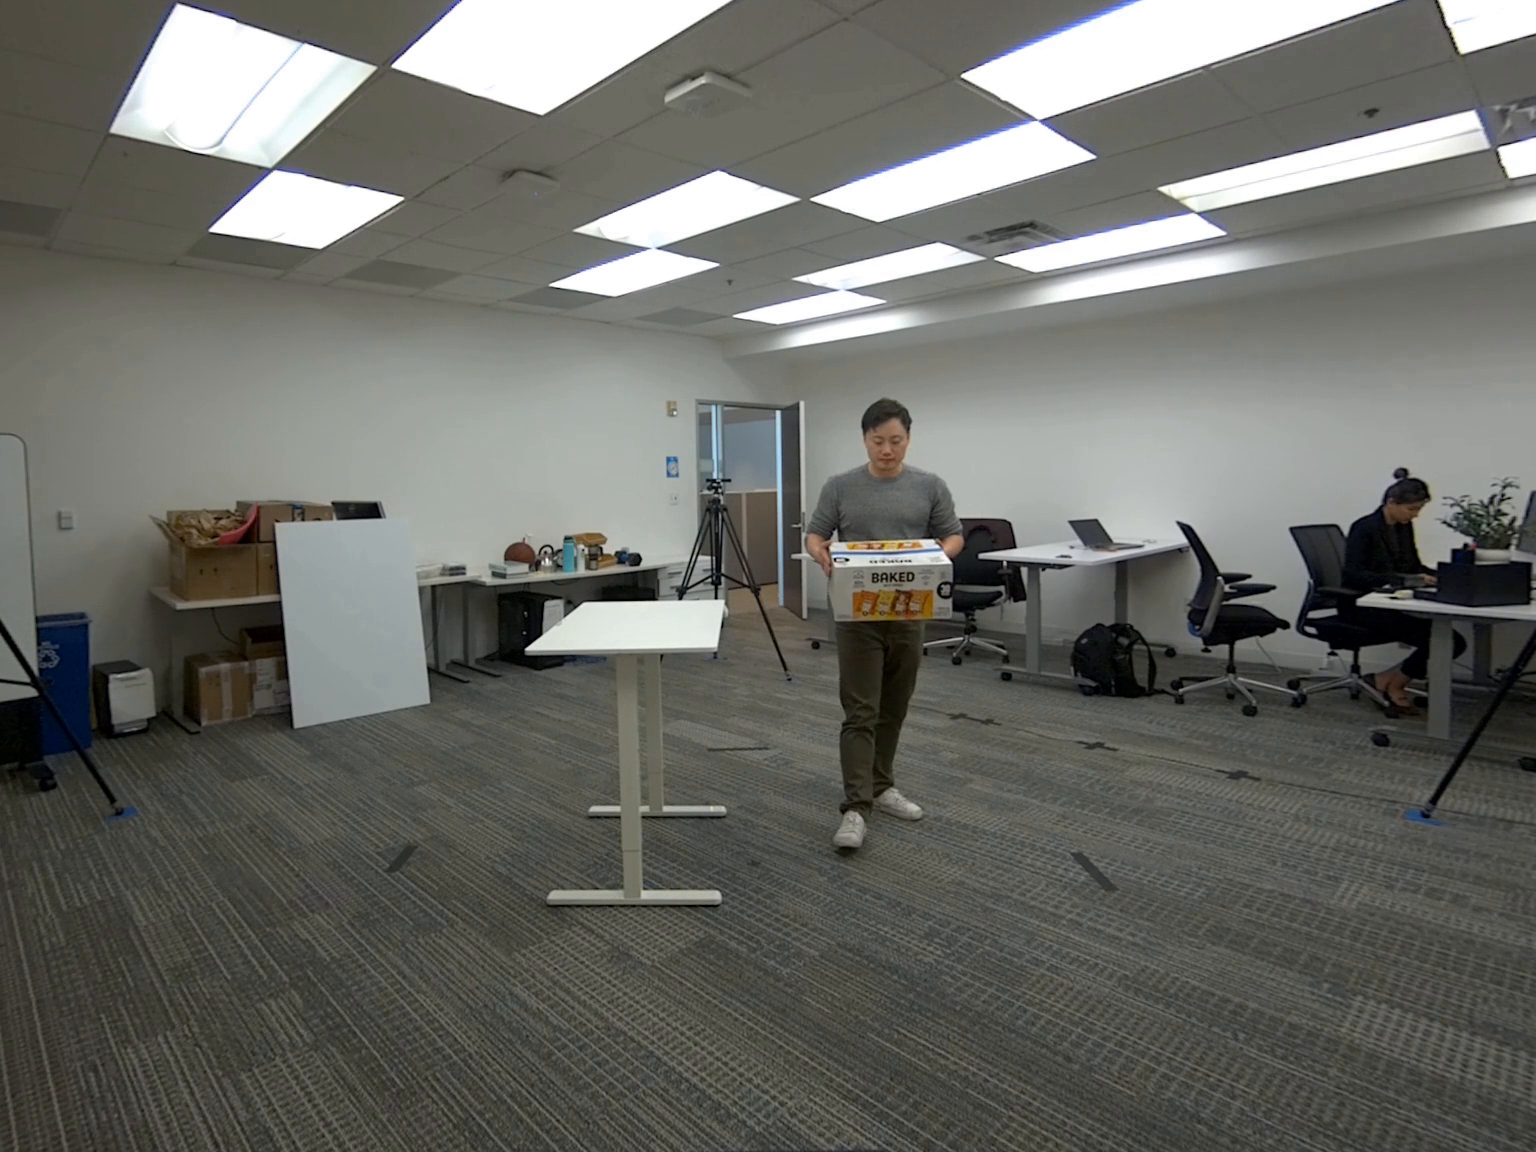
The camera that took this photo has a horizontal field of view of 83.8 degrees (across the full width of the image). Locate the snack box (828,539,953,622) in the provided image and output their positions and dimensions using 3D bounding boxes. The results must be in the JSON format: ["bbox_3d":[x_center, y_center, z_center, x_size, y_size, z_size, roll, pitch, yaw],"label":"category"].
[{"bbox_3d":[0.435,0.013,3.100,0.406,0.203,0.344,-2,14,2],"label":"snack box"}]
